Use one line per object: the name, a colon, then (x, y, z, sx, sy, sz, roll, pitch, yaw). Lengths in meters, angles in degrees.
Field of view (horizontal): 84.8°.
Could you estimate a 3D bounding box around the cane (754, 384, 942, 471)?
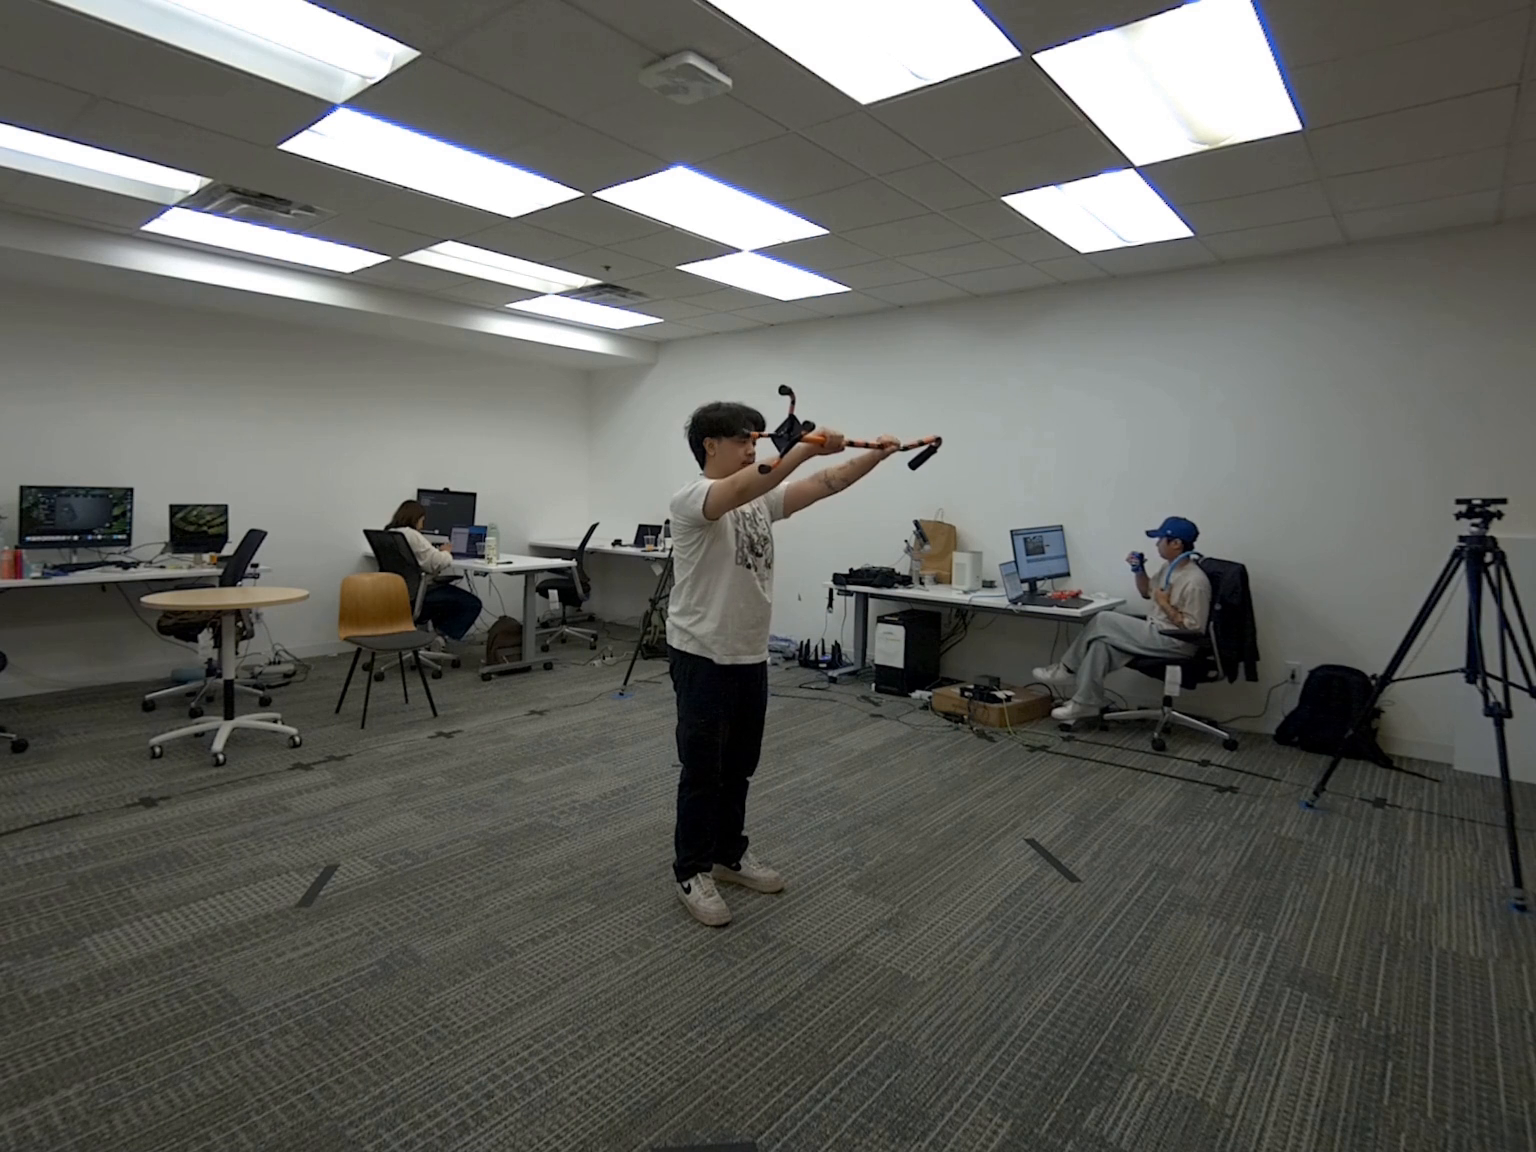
cane: (0.281, -0.417, 2.577, 0.881, 0.156, 0.207, -5, -31, -50)
